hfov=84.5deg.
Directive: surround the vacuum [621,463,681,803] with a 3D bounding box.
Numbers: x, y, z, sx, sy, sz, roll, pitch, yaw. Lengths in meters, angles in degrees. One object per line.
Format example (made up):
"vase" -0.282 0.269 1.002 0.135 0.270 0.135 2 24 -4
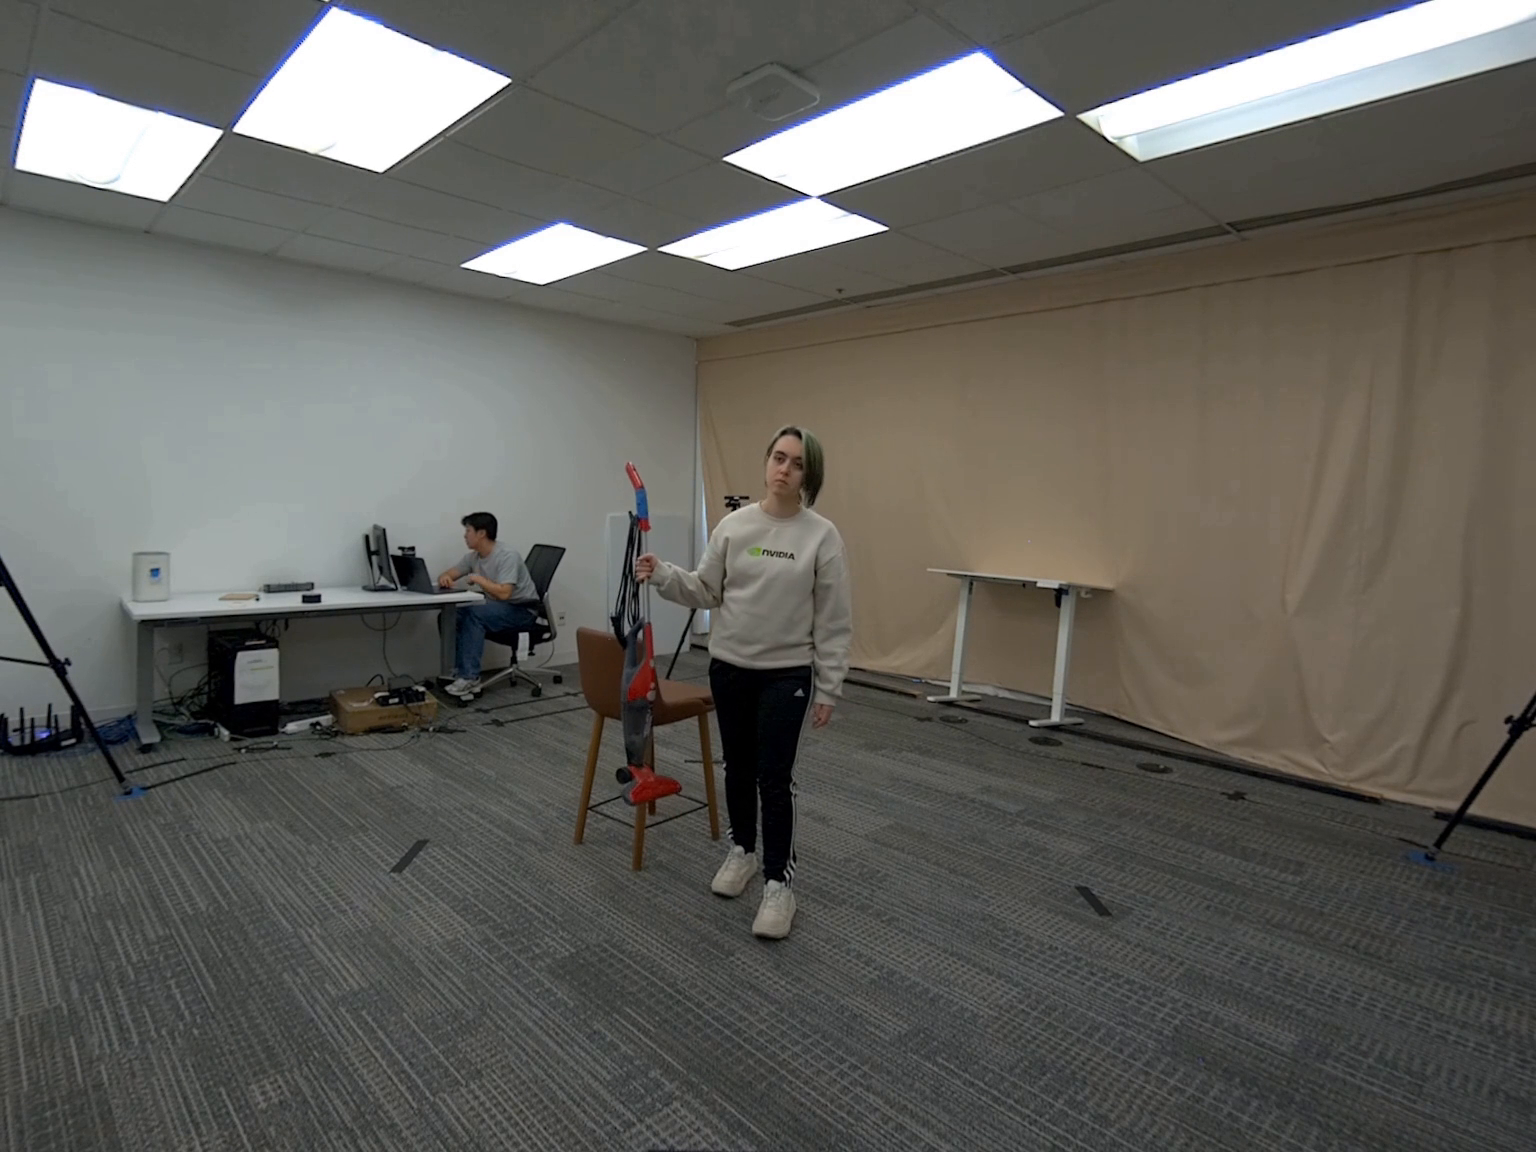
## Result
"vacuum" -0.443 0.151 2.770 0.145 1.055 0.248 -6 -7 15
